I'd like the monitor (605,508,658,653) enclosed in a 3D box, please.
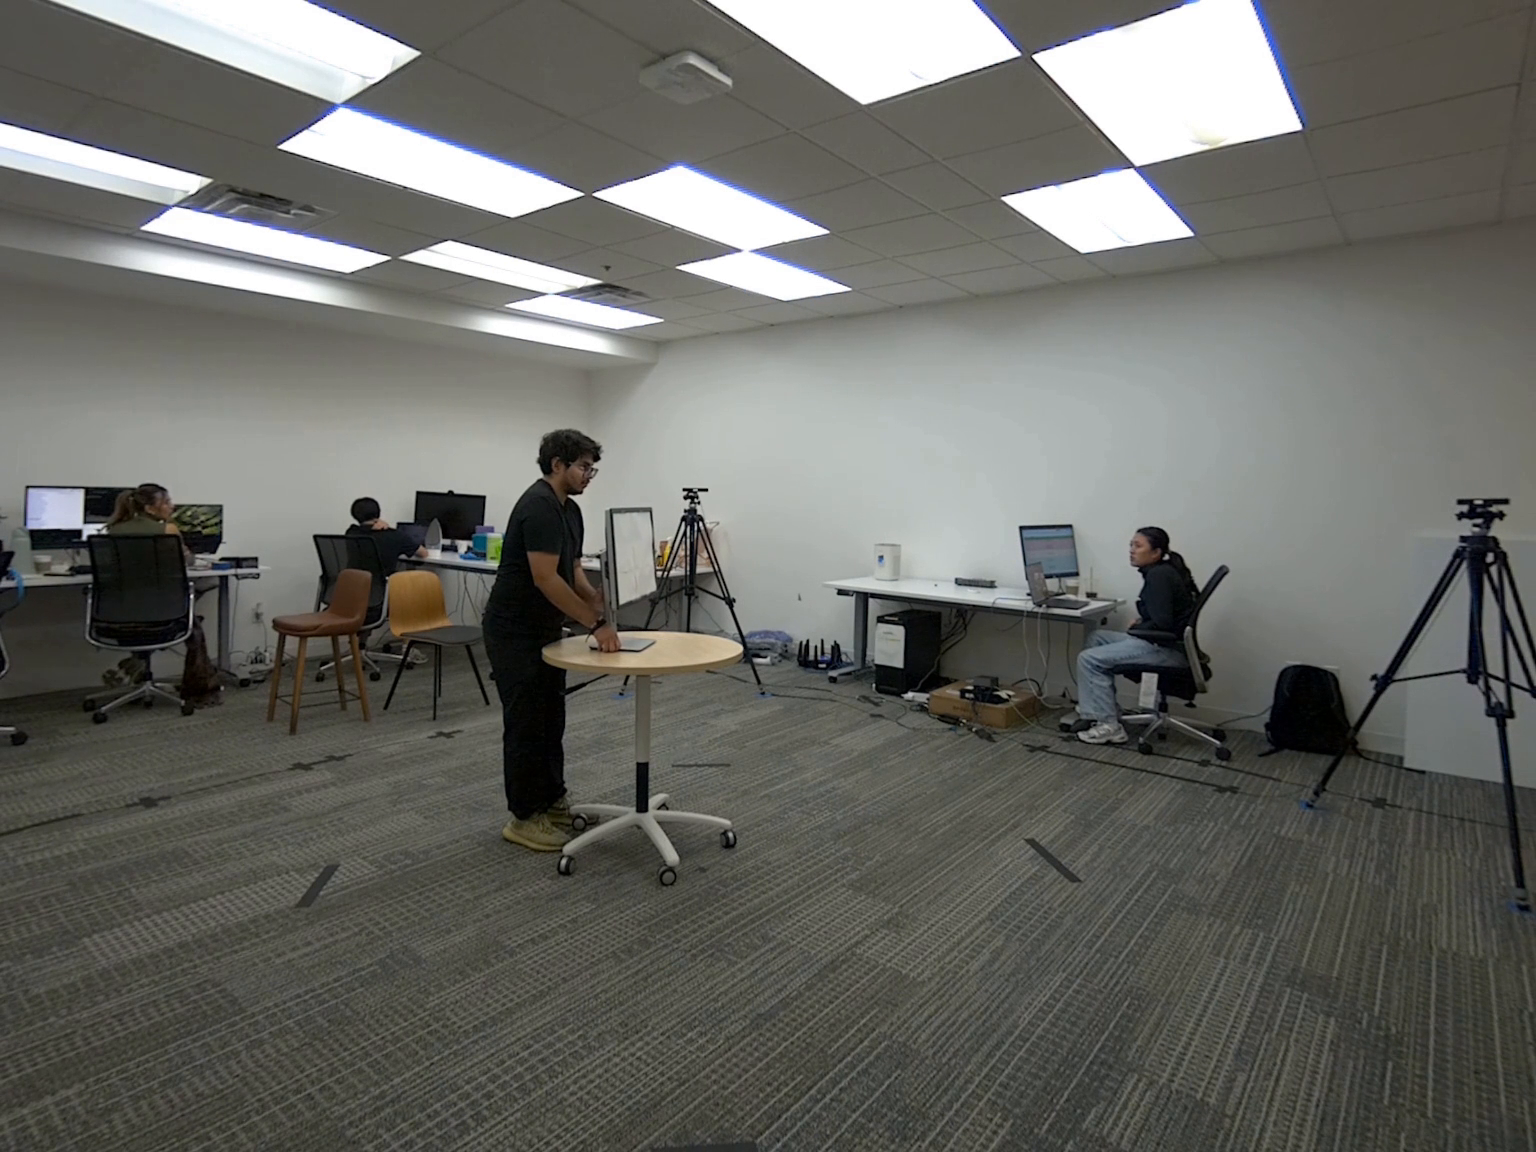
[{"bbox_3d":[-0.596,0.007,3.291,0.212,0.552,0.561,0,4,9],"label":"monitor"}]
